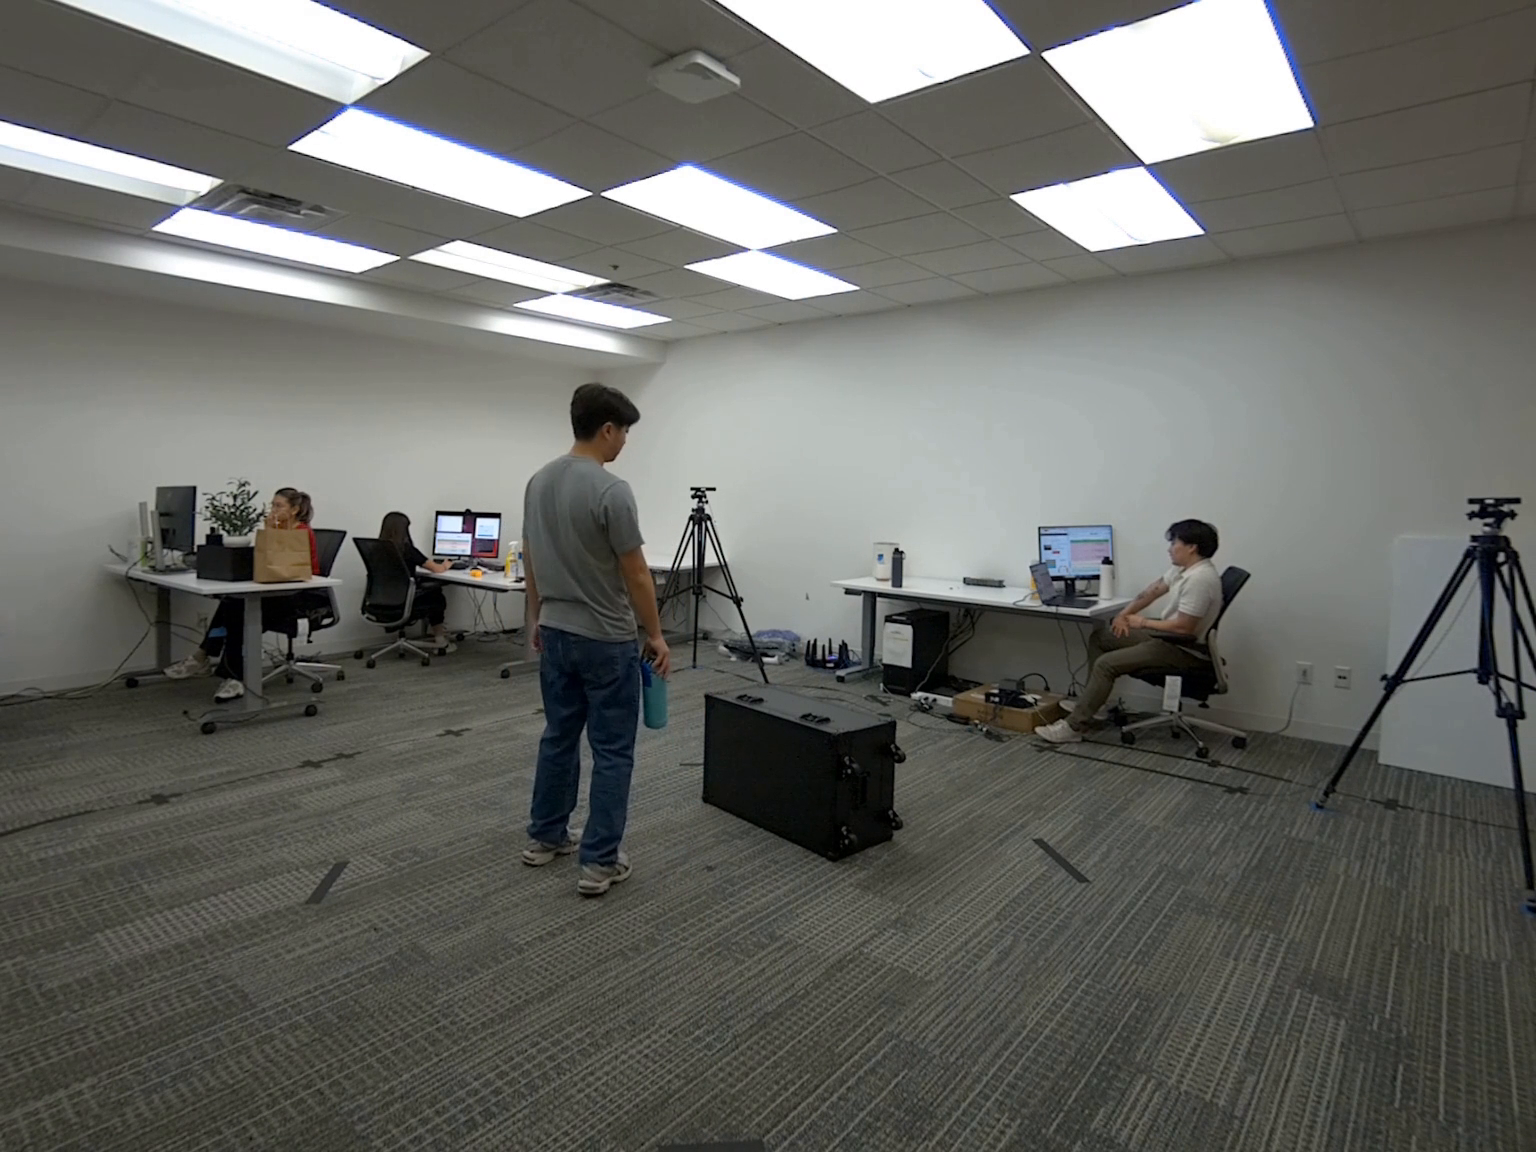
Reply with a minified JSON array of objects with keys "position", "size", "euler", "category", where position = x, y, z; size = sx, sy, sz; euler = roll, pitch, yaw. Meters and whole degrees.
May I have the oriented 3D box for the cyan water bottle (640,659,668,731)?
[{"position":[-0.429,0.422,3.070],"size":[0.092,0.278,0.094],"euler":[0,19,-2],"category":"cyan water bottle"}]
